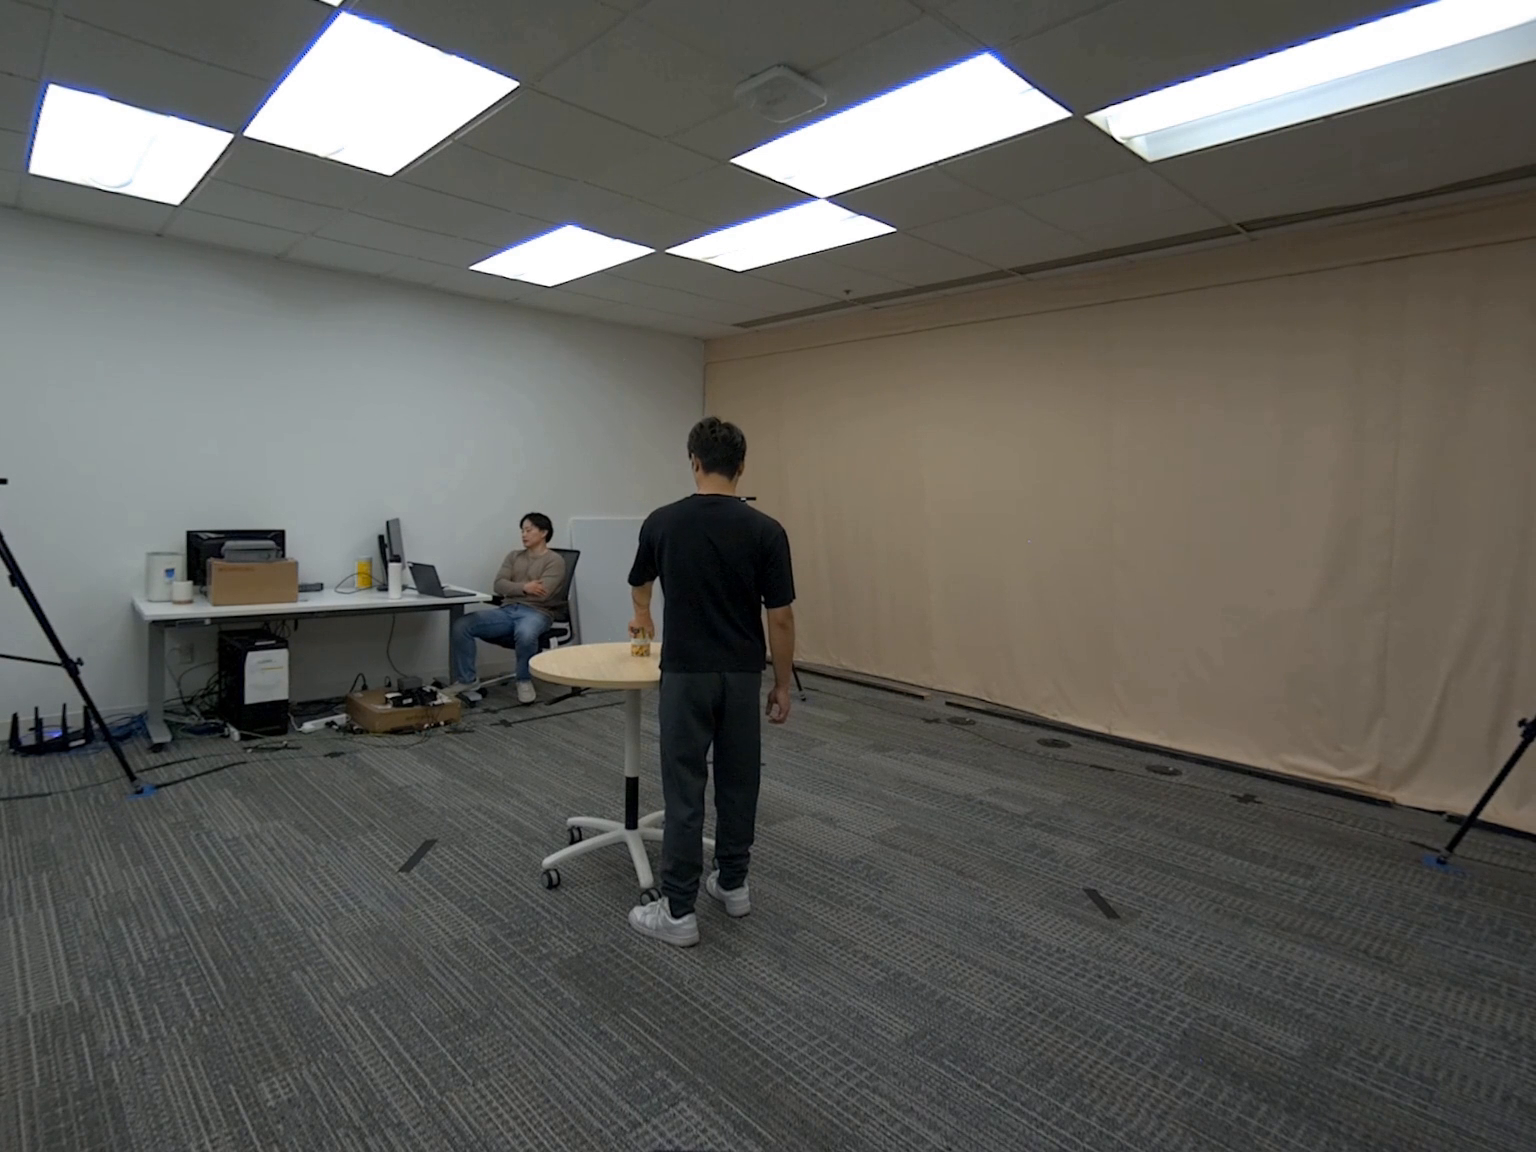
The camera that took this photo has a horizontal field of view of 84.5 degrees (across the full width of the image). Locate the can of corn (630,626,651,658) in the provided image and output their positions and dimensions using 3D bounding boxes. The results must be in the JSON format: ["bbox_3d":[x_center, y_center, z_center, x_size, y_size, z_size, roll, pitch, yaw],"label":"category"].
[{"bbox_3d":[-0.500,0.248,3.223,0.074,0.111,0.074,0,2,-1],"label":"can of corn"}]
